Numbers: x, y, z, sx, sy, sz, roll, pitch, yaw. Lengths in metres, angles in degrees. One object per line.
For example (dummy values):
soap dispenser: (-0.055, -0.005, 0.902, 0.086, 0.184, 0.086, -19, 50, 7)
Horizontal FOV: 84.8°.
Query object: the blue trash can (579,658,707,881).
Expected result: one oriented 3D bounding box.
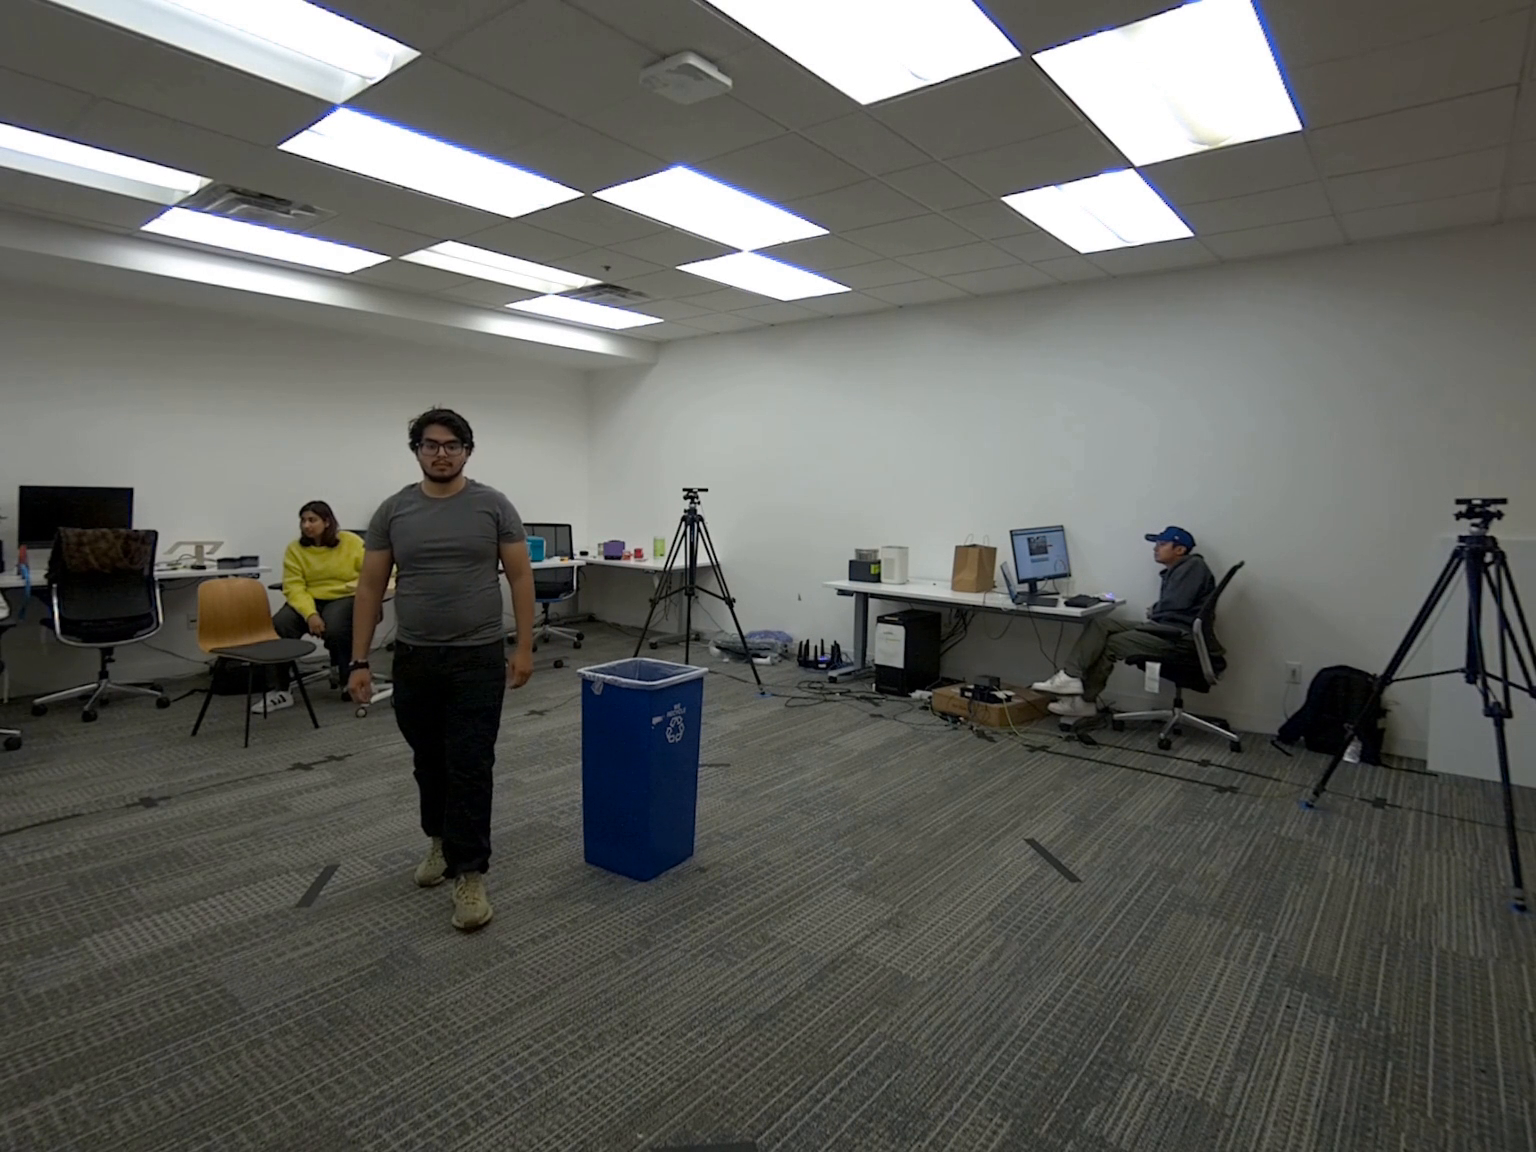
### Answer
blue trash can: (-0.481, 0.699, 3.192, 0.390, 0.712, 0.364, 3, 4, 32)
